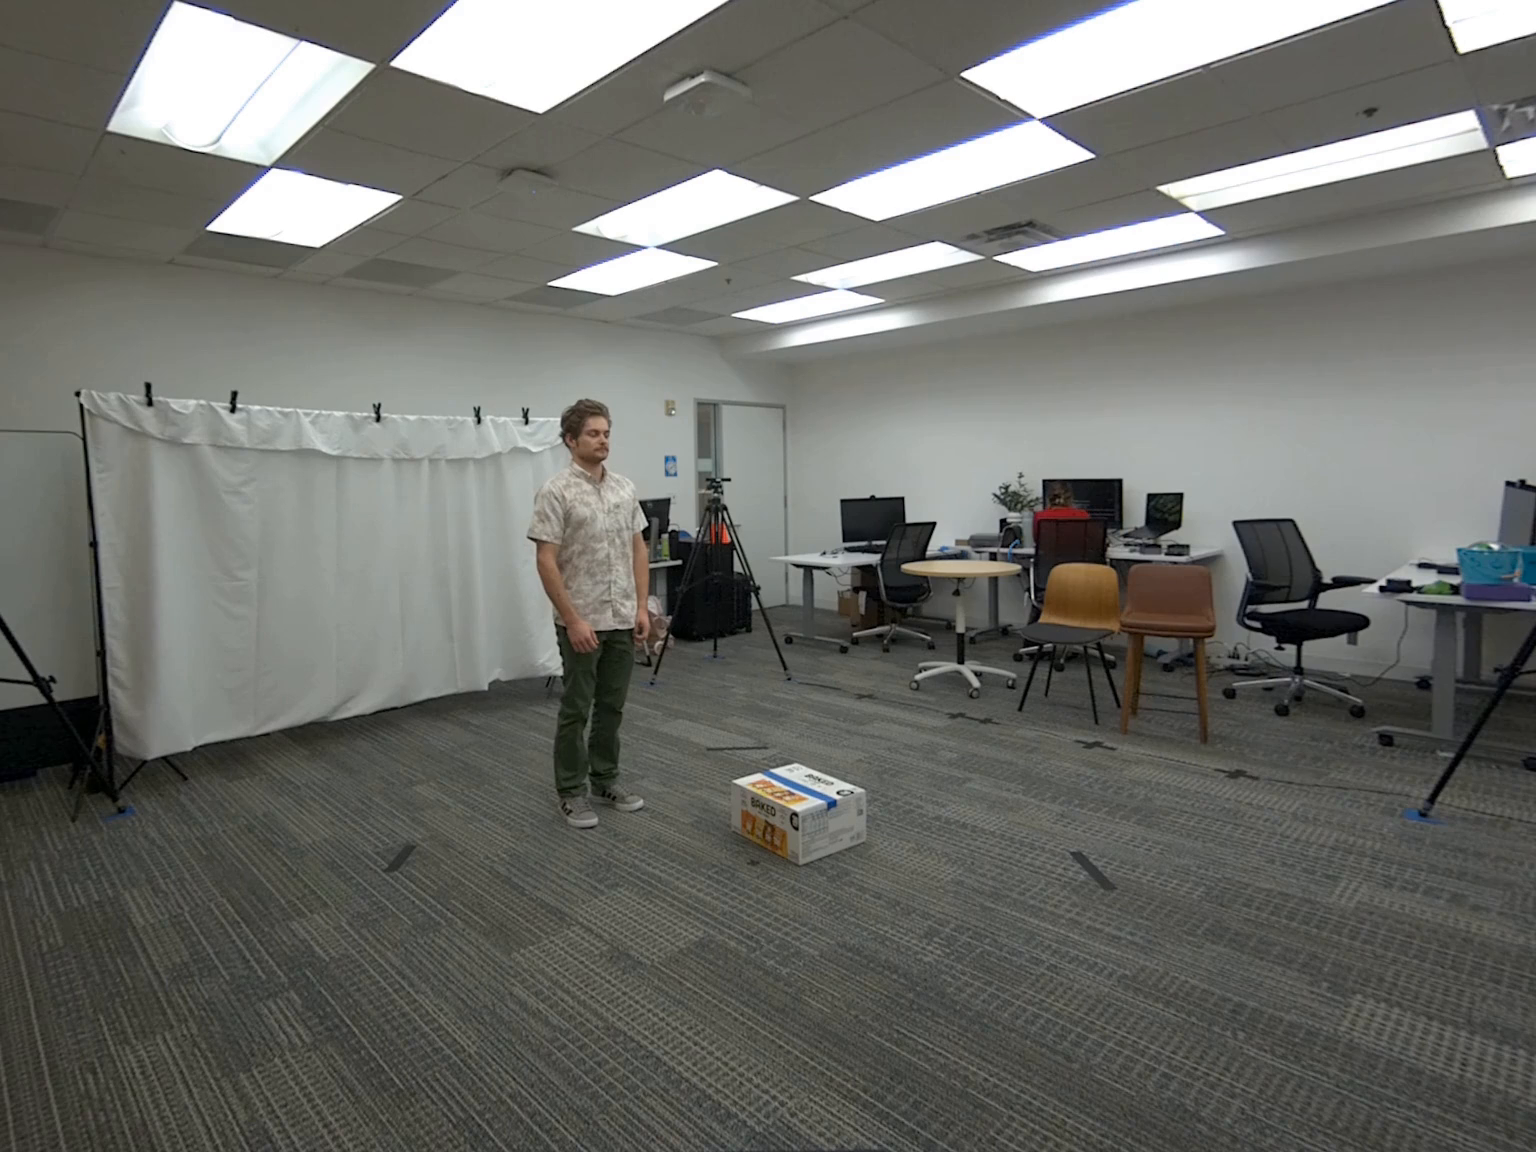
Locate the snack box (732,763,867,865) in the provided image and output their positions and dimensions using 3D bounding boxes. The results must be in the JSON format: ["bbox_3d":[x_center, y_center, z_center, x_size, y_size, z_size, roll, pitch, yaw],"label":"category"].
[{"bbox_3d":[0.118,0.915,3.318,0.332,0.205,0.417,-6,8,-37],"label":"snack box"}]
